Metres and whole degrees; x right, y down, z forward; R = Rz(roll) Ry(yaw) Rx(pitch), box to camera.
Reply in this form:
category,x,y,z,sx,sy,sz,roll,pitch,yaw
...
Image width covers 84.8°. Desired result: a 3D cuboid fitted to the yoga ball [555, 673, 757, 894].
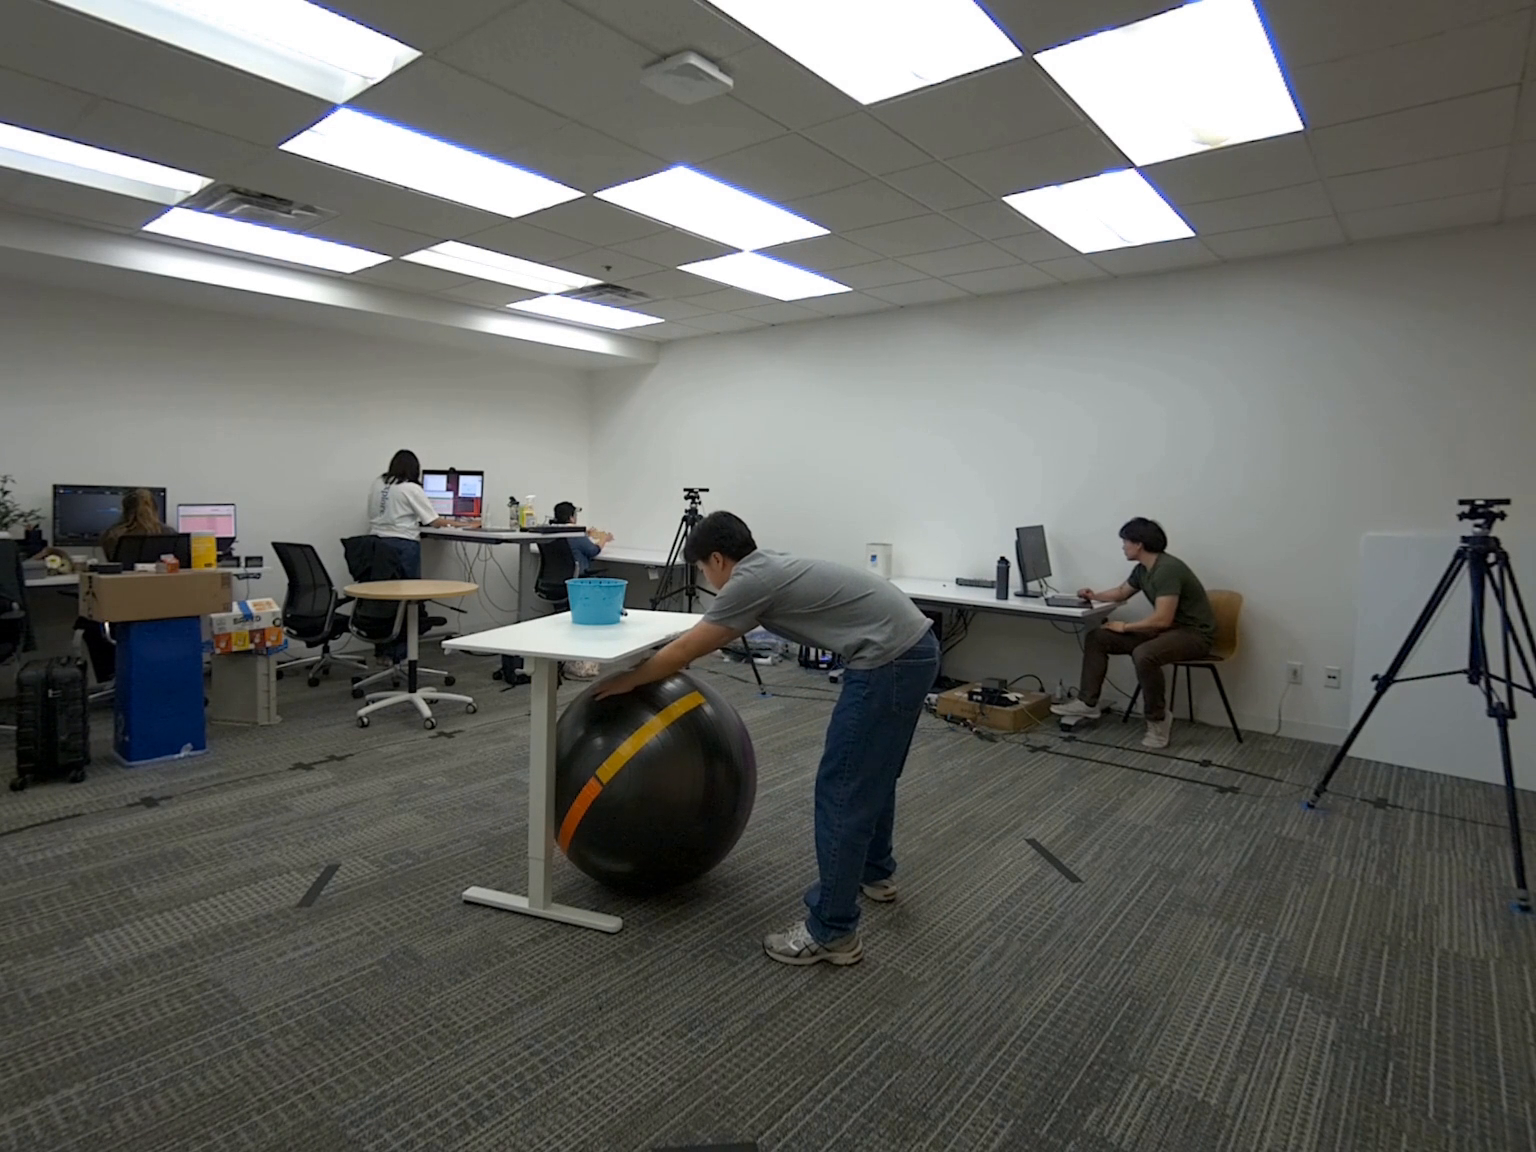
category,x,y,z,sx,sy,sz,roll,pitch,yaw
yoga ball,-0.430,0.707,2.998,0.757,0.755,0.762,1,4,-2
